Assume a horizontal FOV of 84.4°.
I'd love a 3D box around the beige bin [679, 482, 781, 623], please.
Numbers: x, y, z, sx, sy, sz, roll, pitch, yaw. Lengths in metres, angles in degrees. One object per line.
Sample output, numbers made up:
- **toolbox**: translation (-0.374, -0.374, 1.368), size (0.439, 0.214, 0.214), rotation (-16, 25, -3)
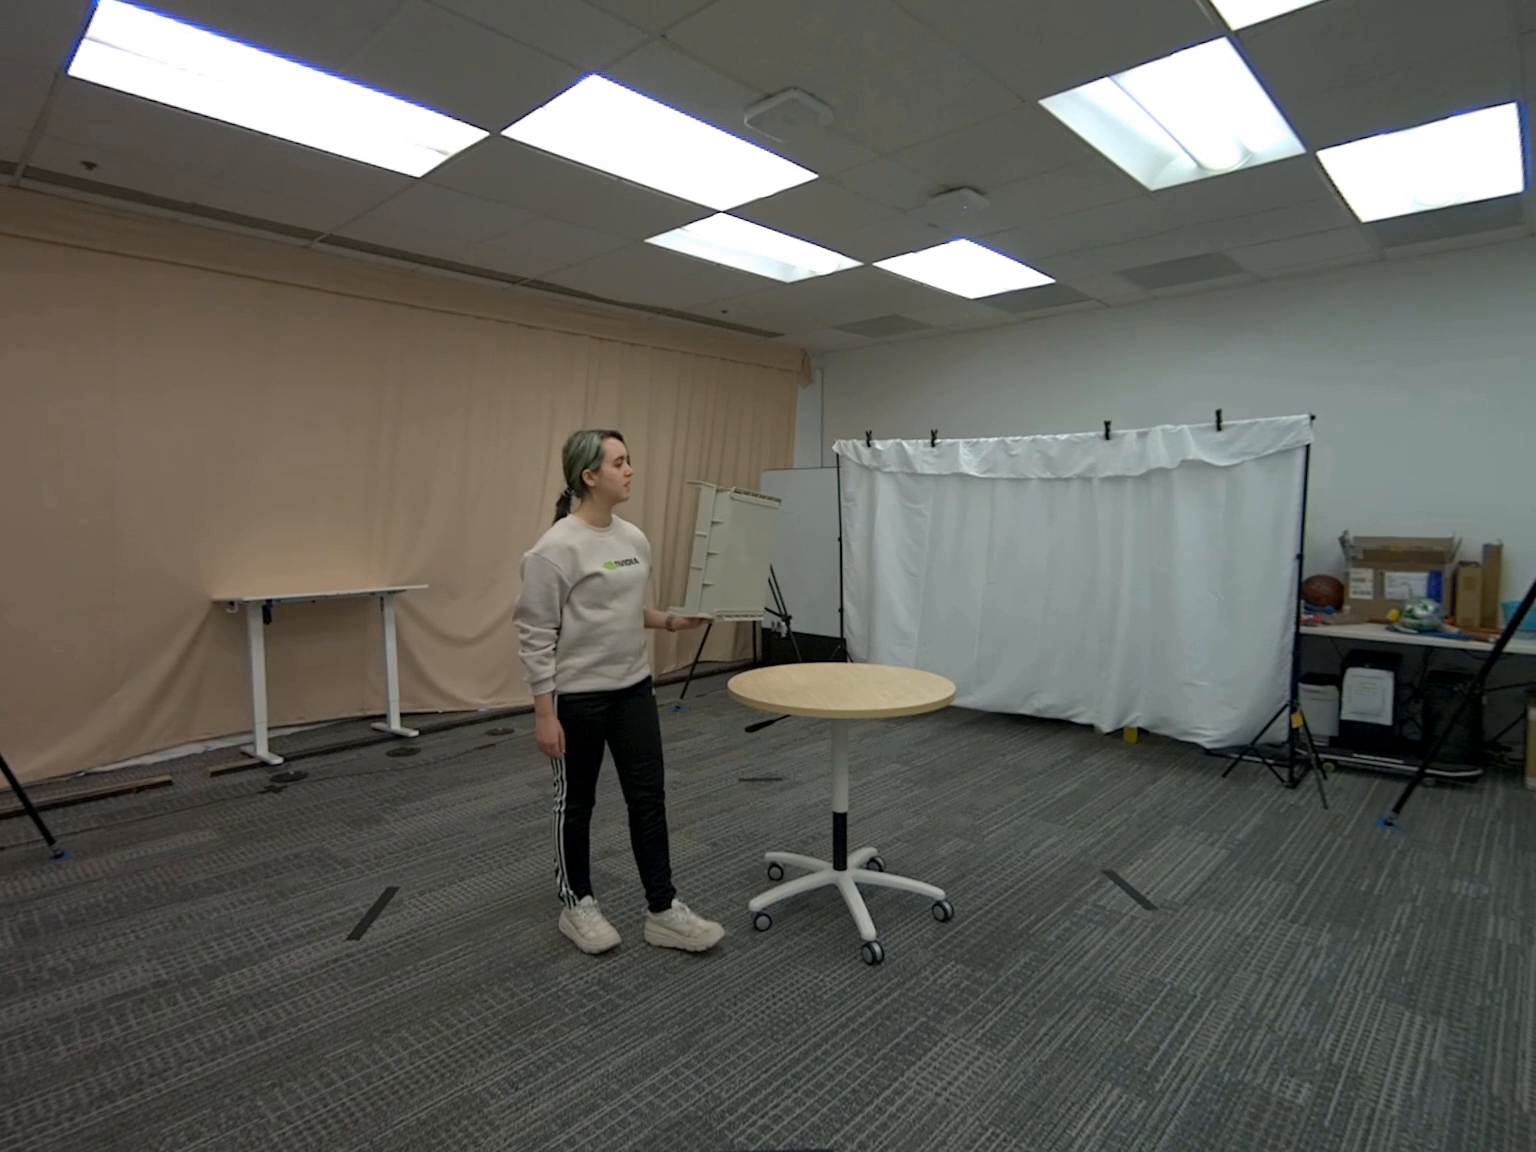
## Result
- **beige bin**: translation (-0.136, -0.079, 2.728), size (0.195, 0.422, 0.366), rotation (8, 2, 33)
